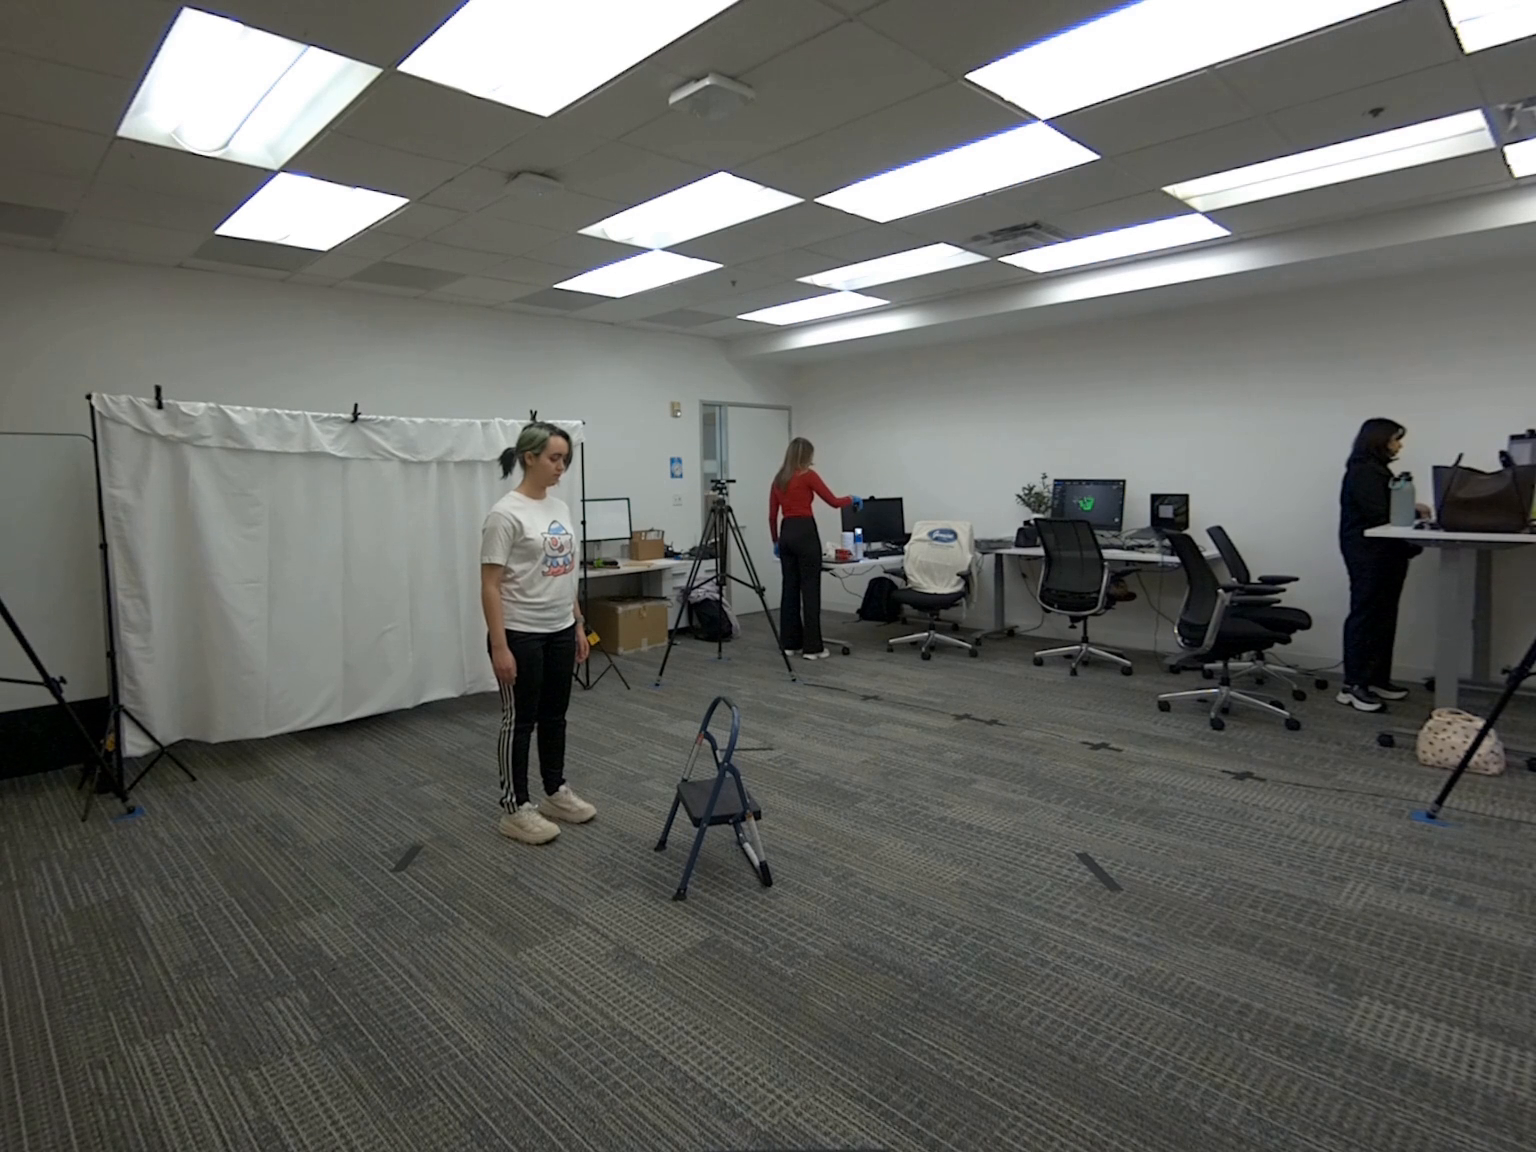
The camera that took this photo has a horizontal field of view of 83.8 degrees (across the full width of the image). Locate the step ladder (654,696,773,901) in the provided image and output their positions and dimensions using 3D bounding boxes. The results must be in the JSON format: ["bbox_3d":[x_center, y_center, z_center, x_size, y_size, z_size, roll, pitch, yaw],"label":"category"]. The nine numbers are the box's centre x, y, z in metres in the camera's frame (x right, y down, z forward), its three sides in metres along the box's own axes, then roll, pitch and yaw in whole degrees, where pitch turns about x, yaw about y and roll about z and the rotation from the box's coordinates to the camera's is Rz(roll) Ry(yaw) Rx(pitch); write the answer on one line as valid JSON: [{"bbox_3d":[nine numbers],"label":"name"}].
[{"bbox_3d":[-0.207,0.753,3.068,0.344,0.603,0.438,-2,5,-16],"label":"step ladder"}]
